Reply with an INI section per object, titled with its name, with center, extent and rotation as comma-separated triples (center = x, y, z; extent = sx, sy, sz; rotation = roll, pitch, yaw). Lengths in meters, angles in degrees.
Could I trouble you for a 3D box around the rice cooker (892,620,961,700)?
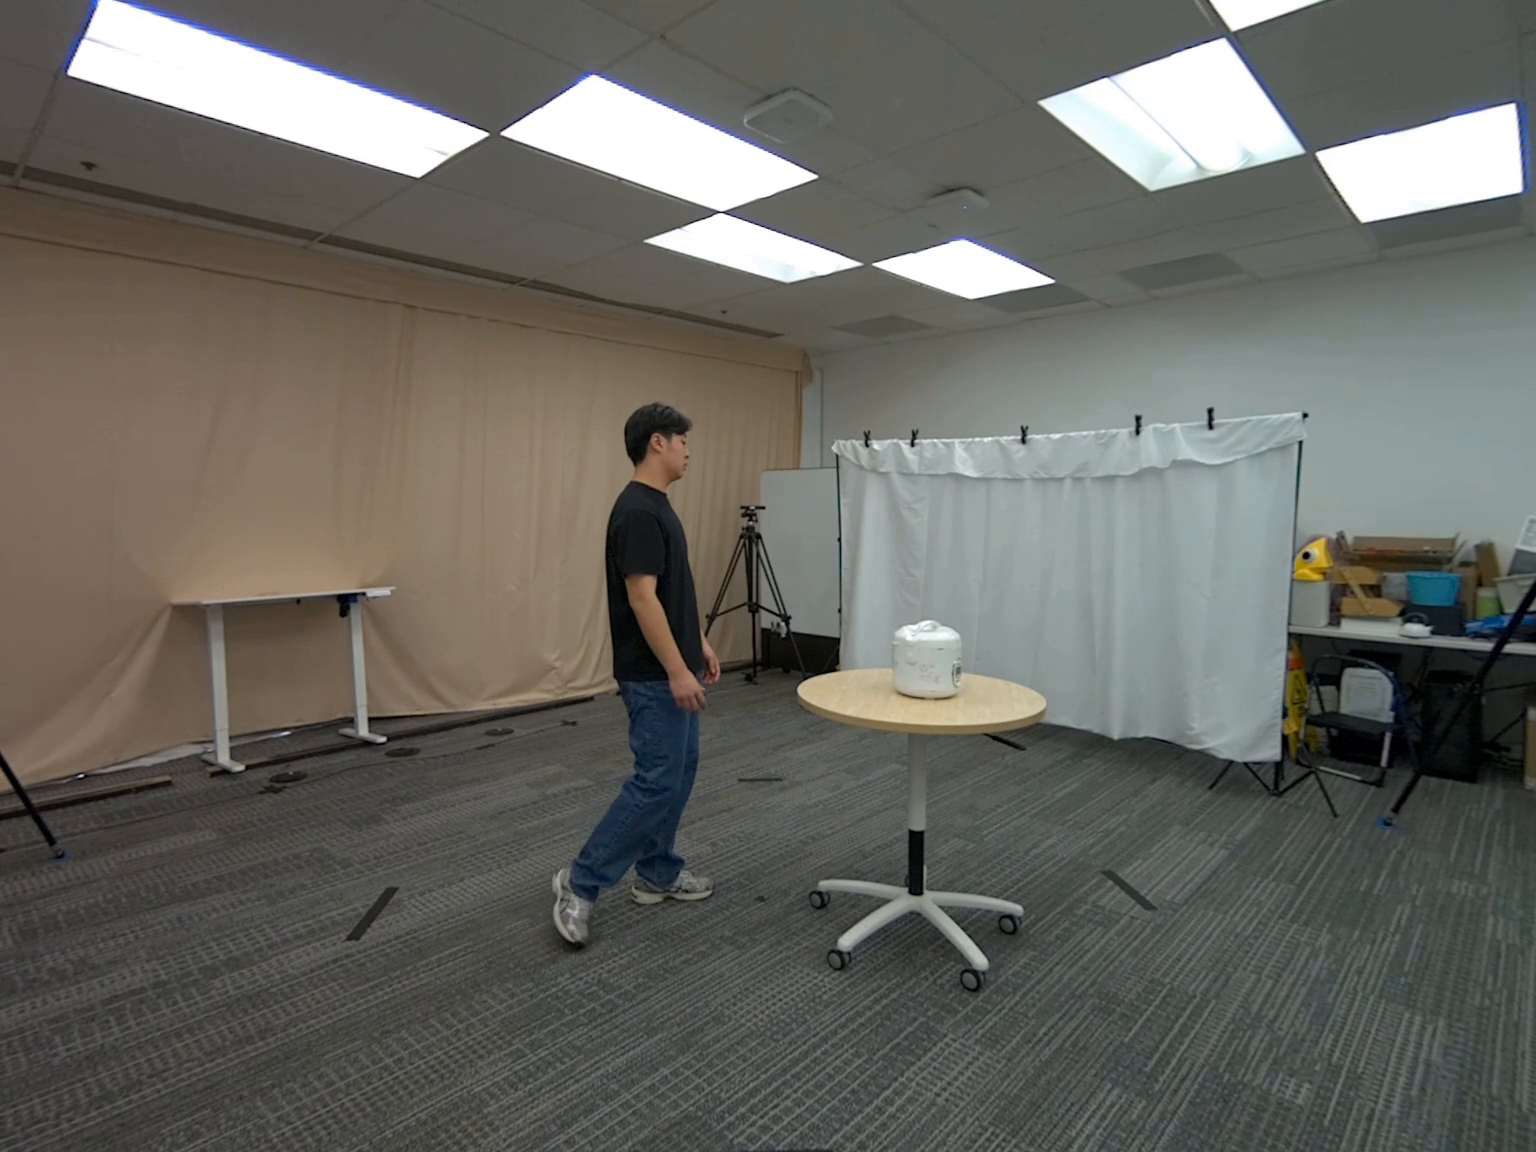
[rice cooker]
center = 0.512, 0.260, 2.658
extent = 0.224, 0.232, 0.214
rotation = 1, 4, 40
